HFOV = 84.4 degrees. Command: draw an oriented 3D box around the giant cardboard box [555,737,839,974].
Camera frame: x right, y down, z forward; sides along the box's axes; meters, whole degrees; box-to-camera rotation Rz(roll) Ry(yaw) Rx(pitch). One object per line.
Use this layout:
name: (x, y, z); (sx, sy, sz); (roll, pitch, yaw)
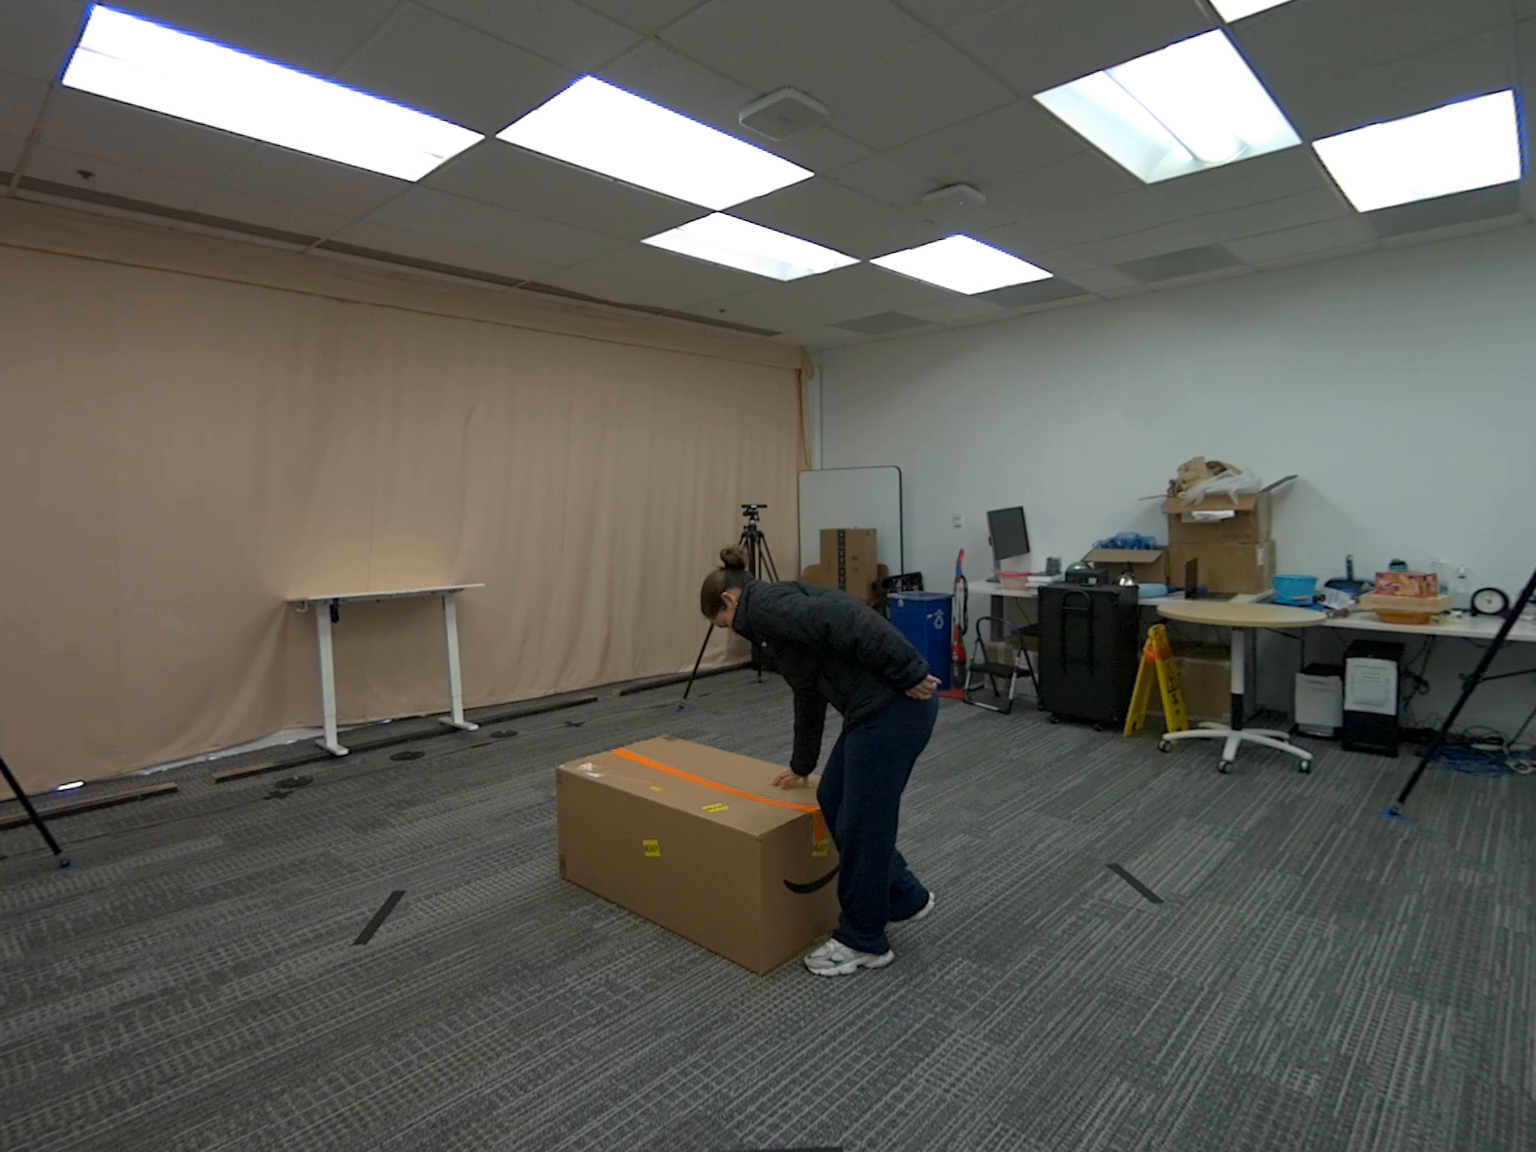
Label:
giant cardboard box: (-0.211, 0.932, 3.032); (1.061, 0.446, 0.566); (2, 4, 42)
